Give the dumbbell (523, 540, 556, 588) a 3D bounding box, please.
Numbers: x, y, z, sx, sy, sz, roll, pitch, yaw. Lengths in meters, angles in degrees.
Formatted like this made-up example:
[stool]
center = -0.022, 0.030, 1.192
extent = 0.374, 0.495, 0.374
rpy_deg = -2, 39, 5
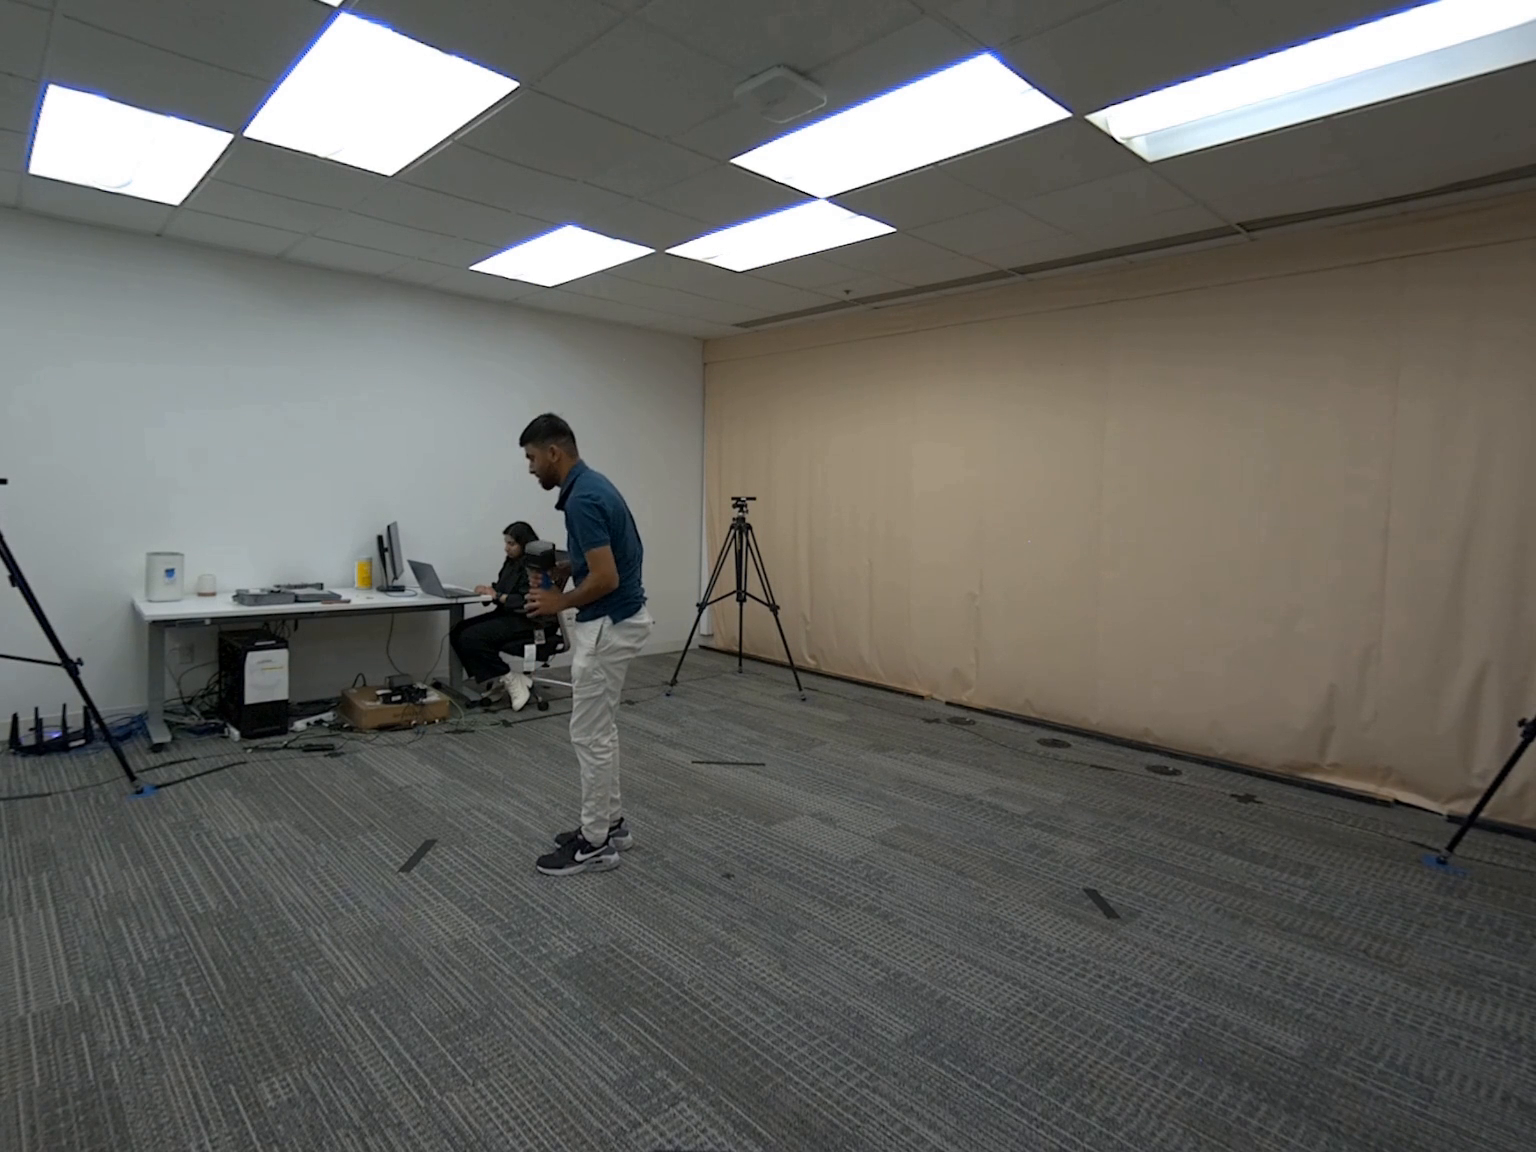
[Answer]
[dumbbell]
center = -0.850, 0.014, 3.109
extent = 0.121, 0.289, 0.112
rpy_deg = -14, 28, -31
